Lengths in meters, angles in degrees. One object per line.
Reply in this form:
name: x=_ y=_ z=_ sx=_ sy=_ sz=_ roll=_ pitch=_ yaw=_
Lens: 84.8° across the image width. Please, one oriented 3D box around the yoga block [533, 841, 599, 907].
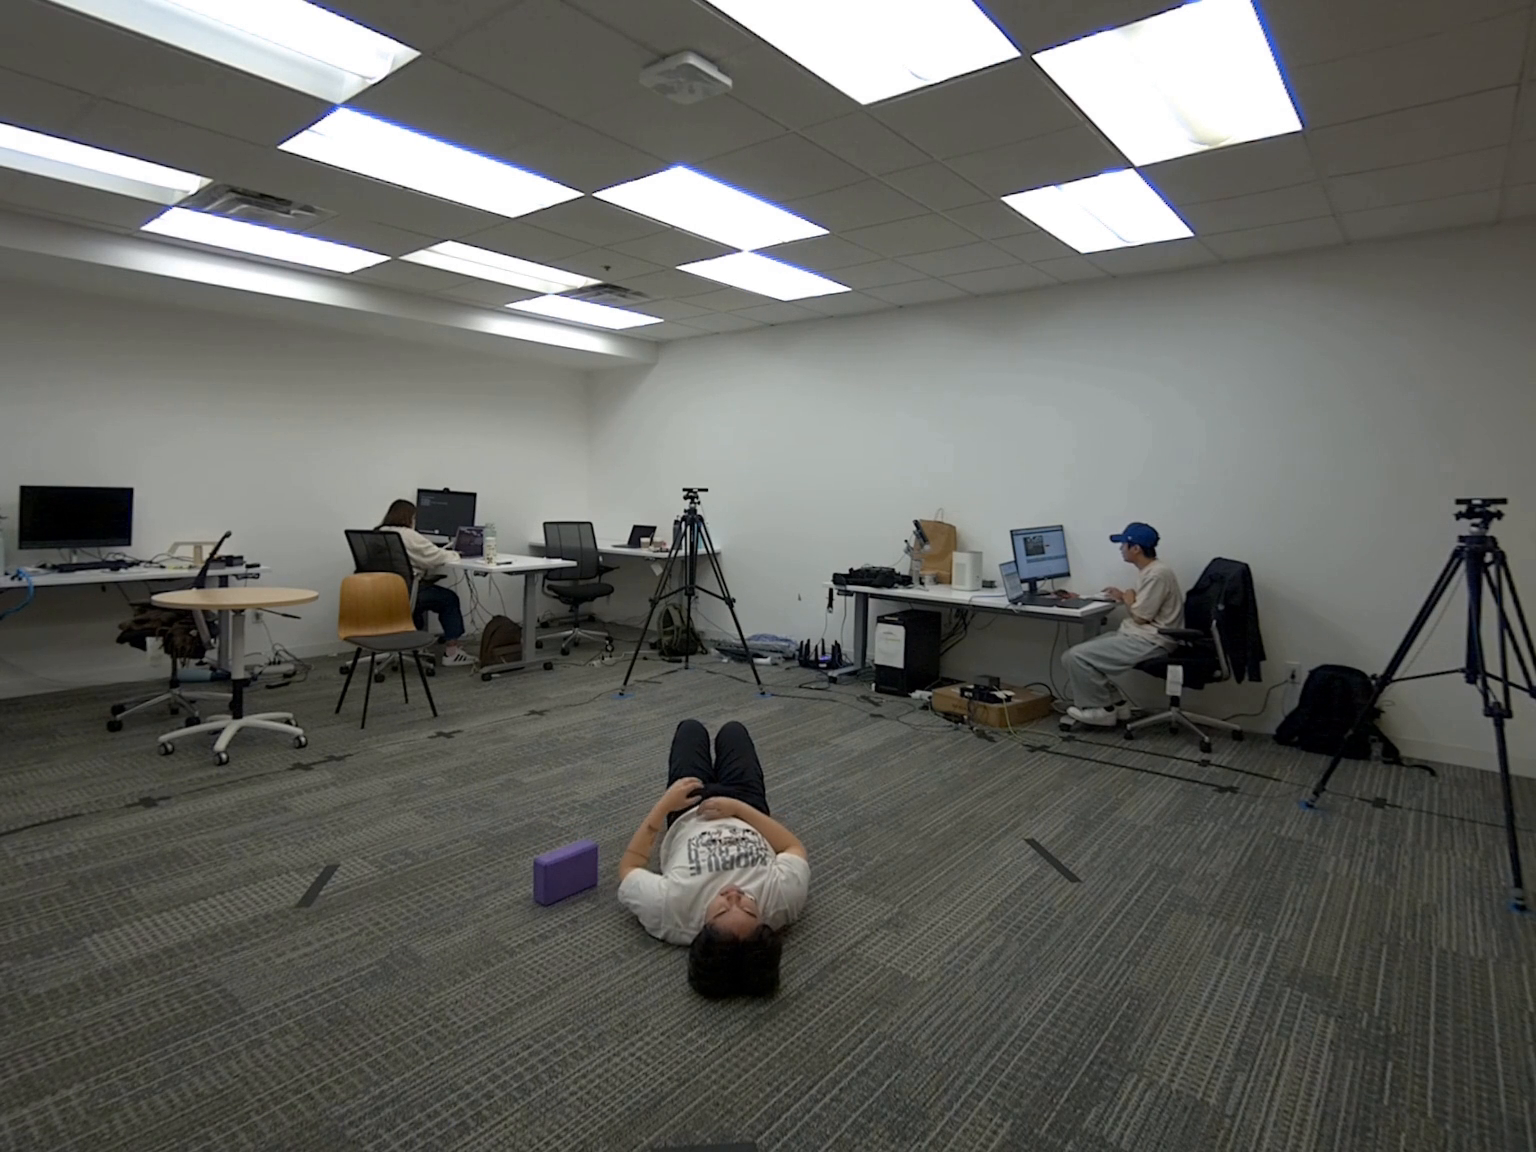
yoga block: x=-0.701 y=1.007 z=2.909 sx=0.079 sy=0.148 sz=0.223 roll=3 pitch=5 yaw=40
